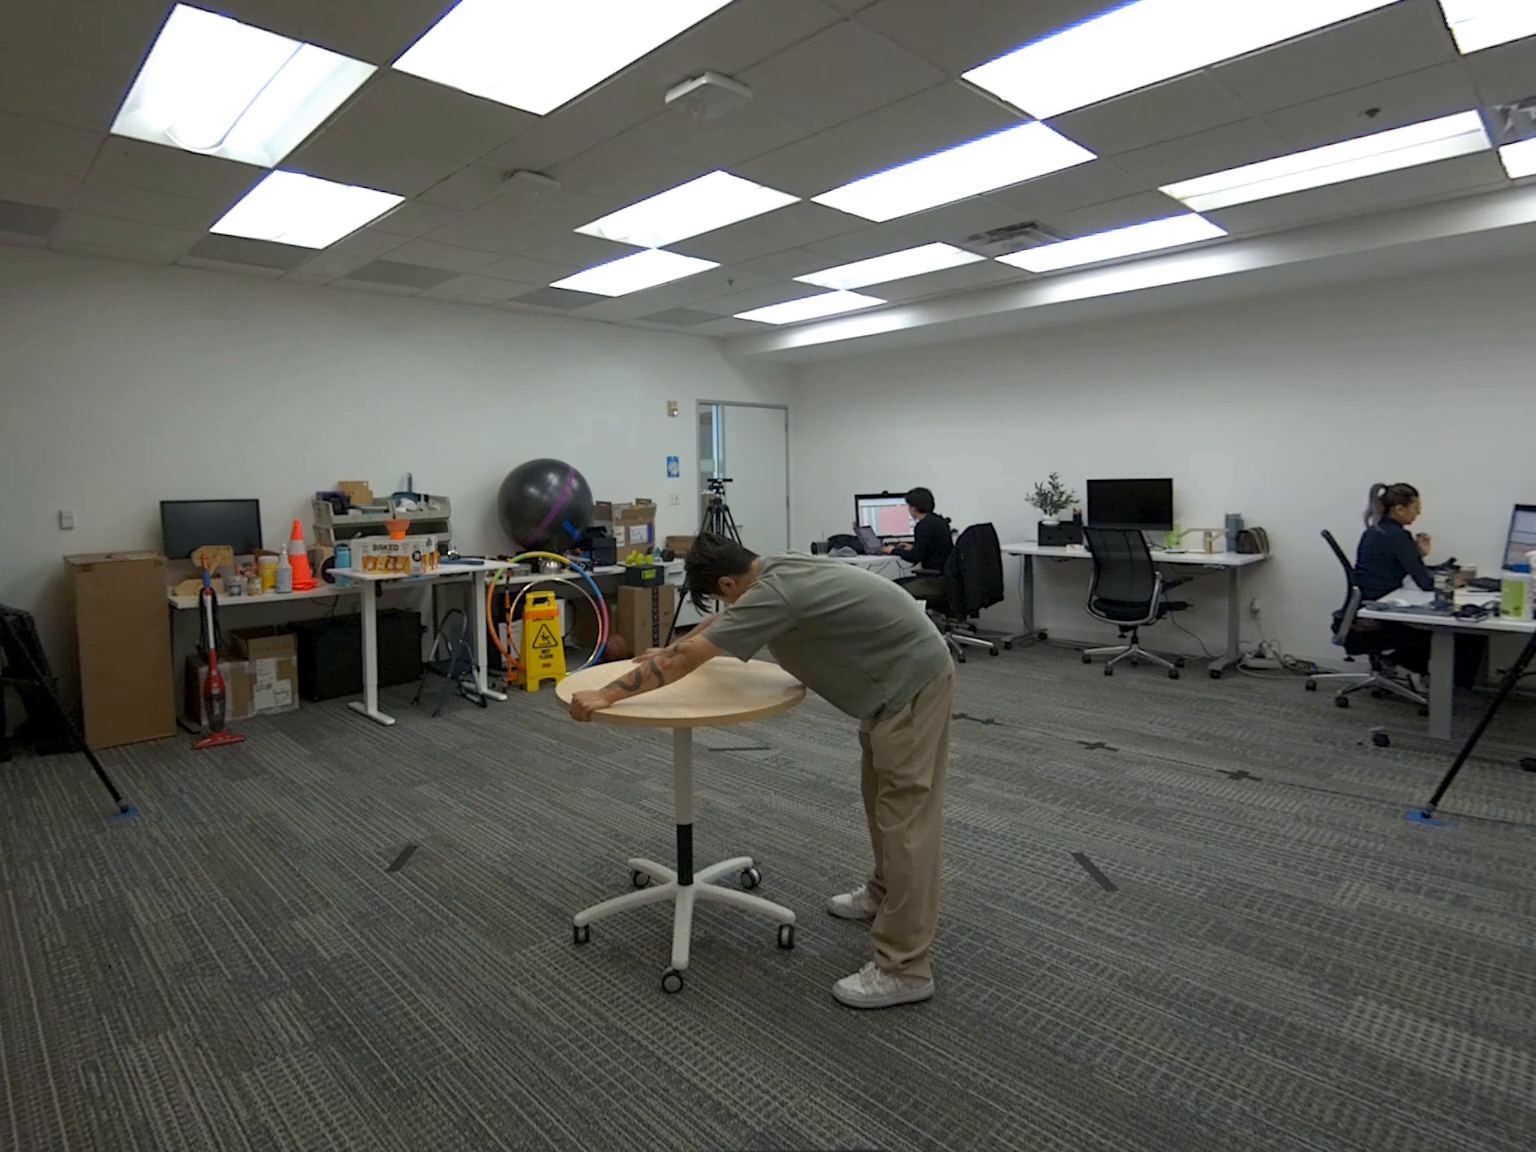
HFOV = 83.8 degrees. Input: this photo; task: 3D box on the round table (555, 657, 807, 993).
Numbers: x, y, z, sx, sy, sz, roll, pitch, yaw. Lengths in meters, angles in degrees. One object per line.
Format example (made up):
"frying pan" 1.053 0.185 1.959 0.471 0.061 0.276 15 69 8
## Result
"round table" -0.261 0.712 2.644 0.784 0.783 0.789 -1 5 -2
